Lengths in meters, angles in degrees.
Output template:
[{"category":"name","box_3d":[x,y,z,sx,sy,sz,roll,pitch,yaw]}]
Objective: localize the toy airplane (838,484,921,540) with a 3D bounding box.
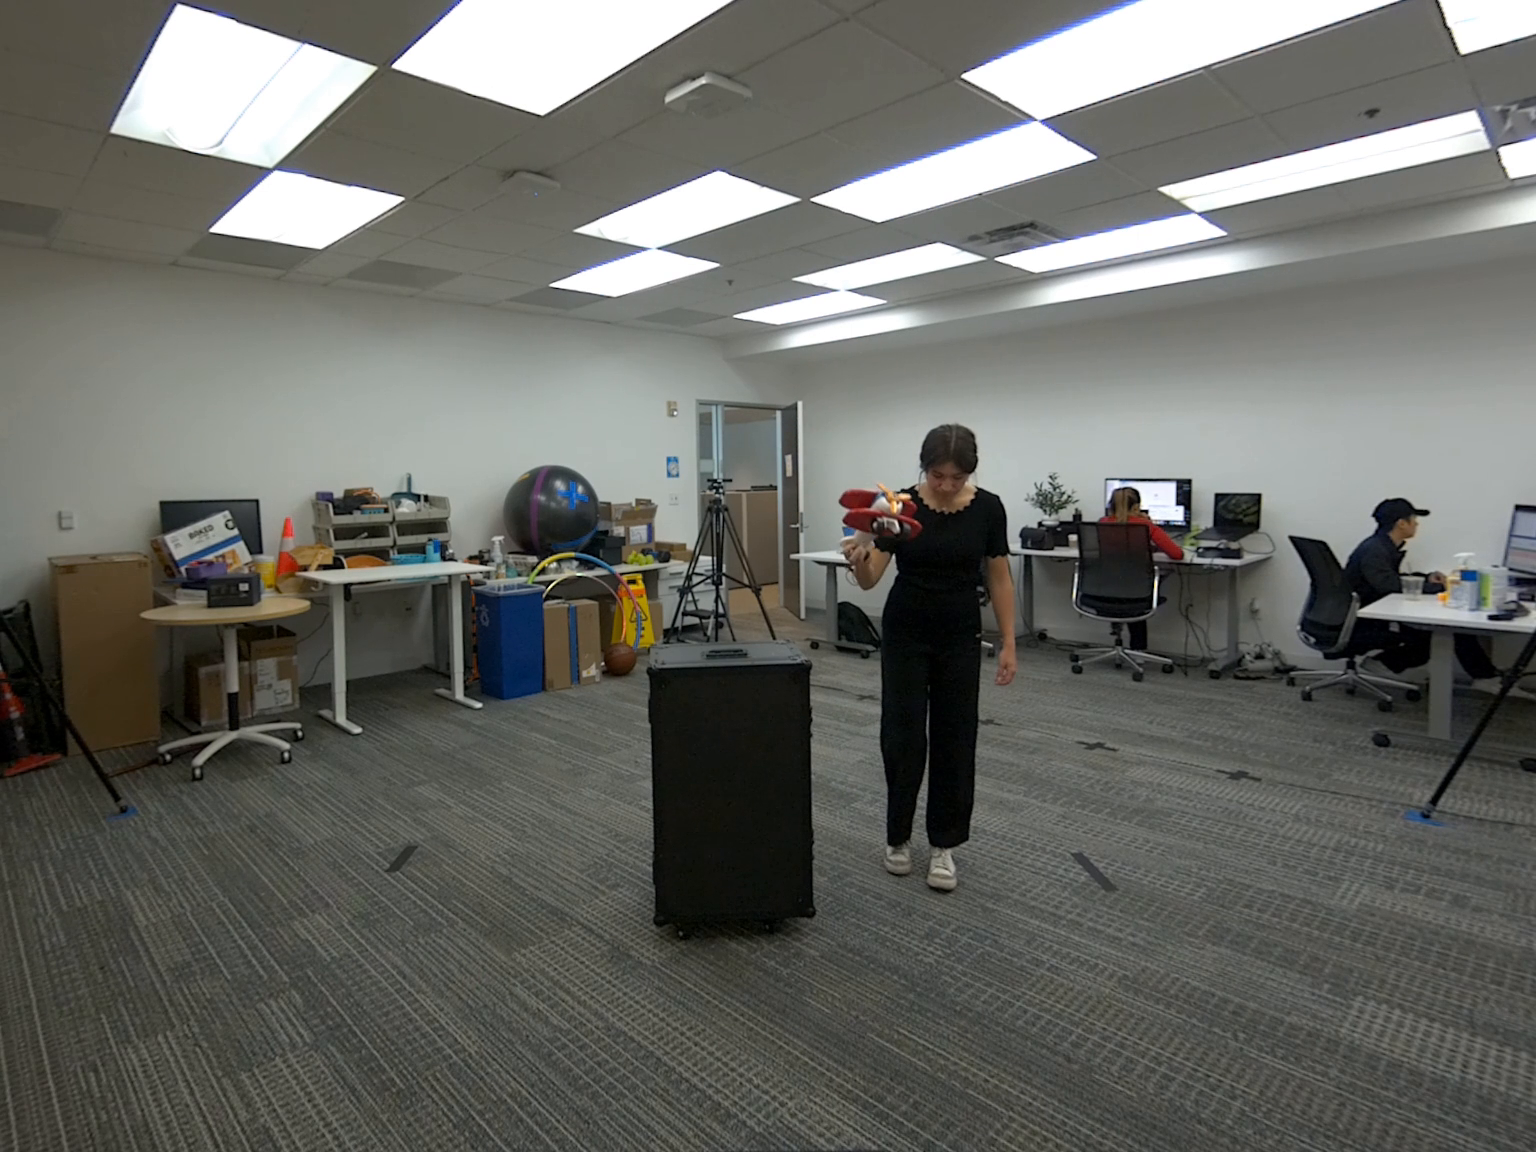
[{"category":"toy airplane","box_3d":[0.312,-0.158,2.617,0.264,0.159,0.241,-16,-31,37]}]
